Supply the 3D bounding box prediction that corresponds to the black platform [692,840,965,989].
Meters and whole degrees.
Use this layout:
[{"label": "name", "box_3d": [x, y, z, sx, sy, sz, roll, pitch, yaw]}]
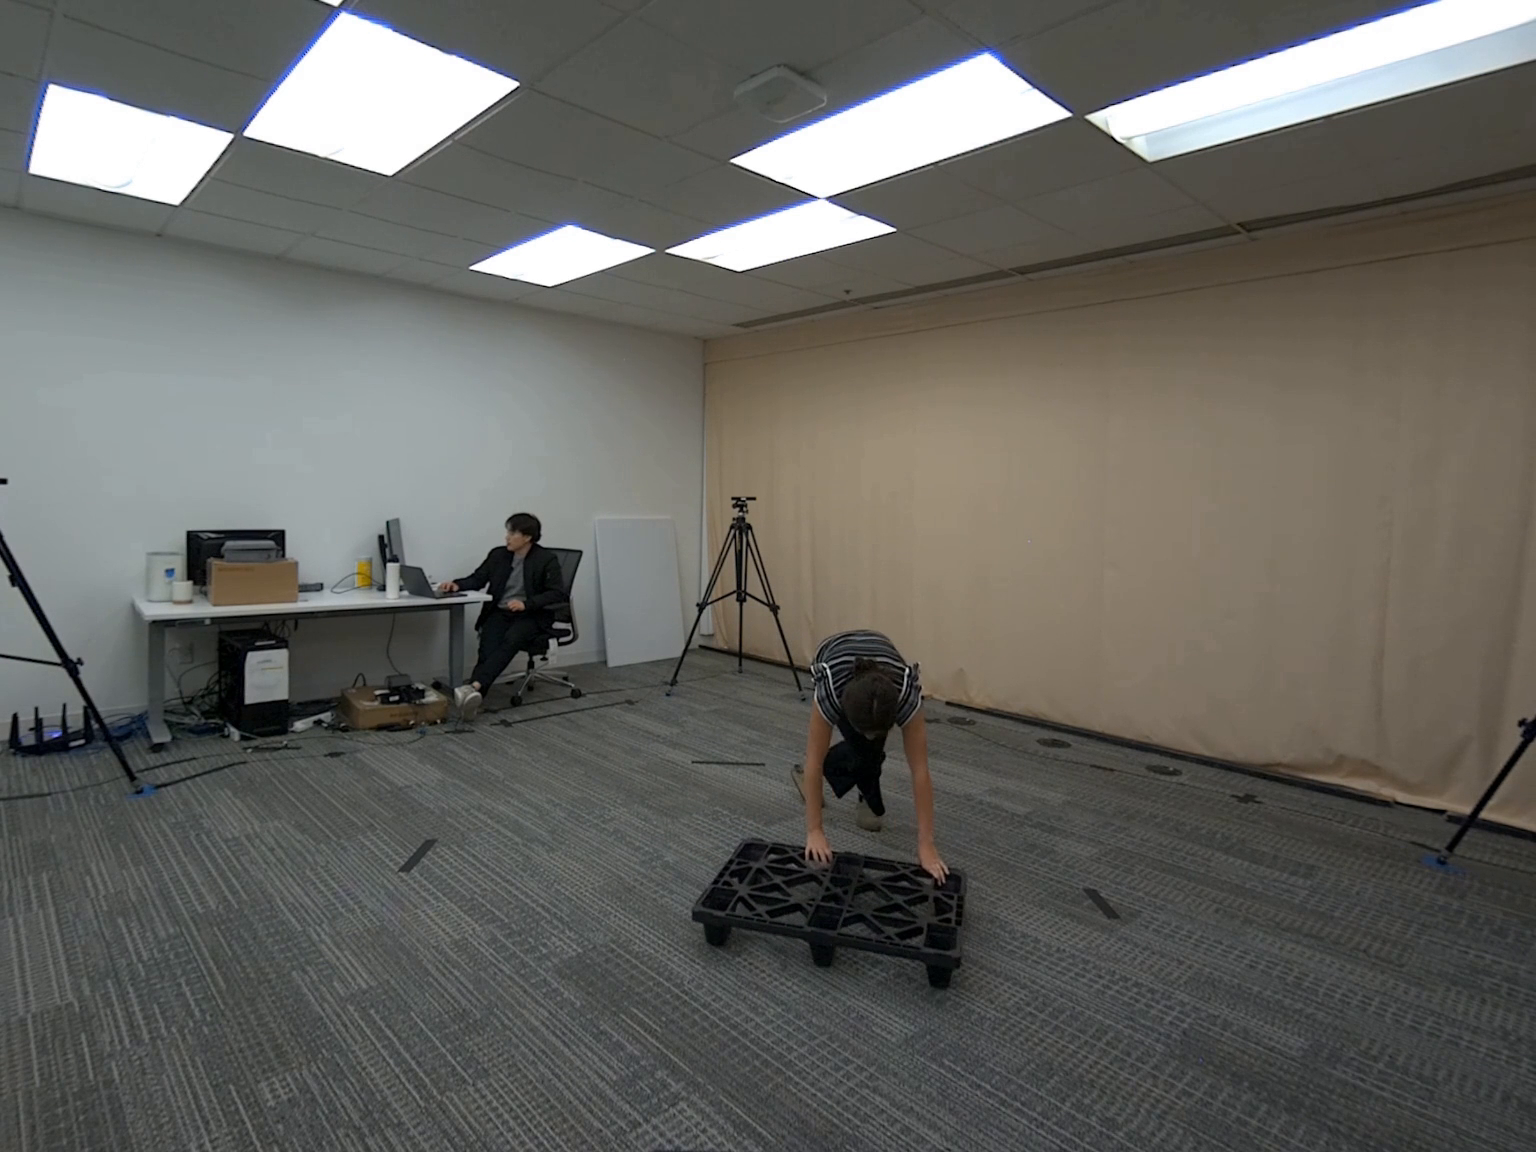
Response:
[{"label": "black platform", "box_3d": [0.213, 1.080, 2.723, 0.816, 0.143, 0.599, 2, 6, 16]}]
